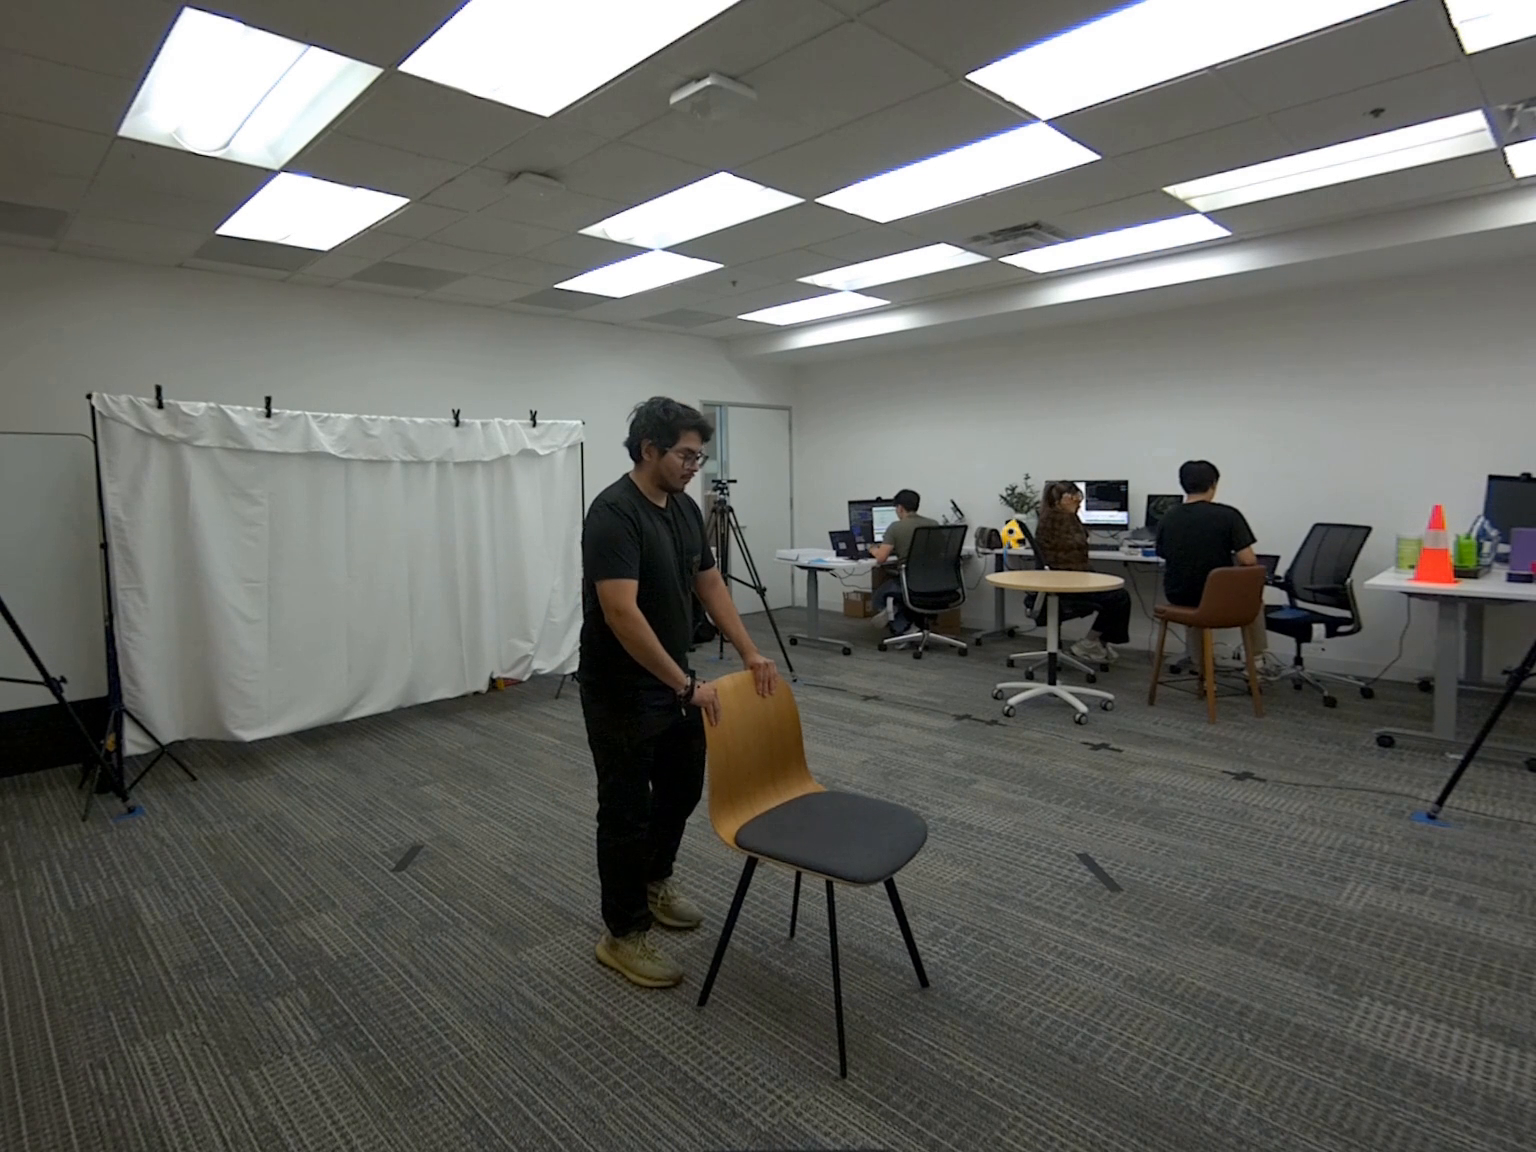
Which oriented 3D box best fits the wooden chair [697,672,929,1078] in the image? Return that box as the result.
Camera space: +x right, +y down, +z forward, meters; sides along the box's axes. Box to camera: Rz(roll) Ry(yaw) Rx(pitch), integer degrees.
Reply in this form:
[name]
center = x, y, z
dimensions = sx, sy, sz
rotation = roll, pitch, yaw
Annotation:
[wooden chair]
center = 0.129, 0.709, 2.281
dimensions = 0.537, 0.876, 0.466
rotation = -3, 2, 38
